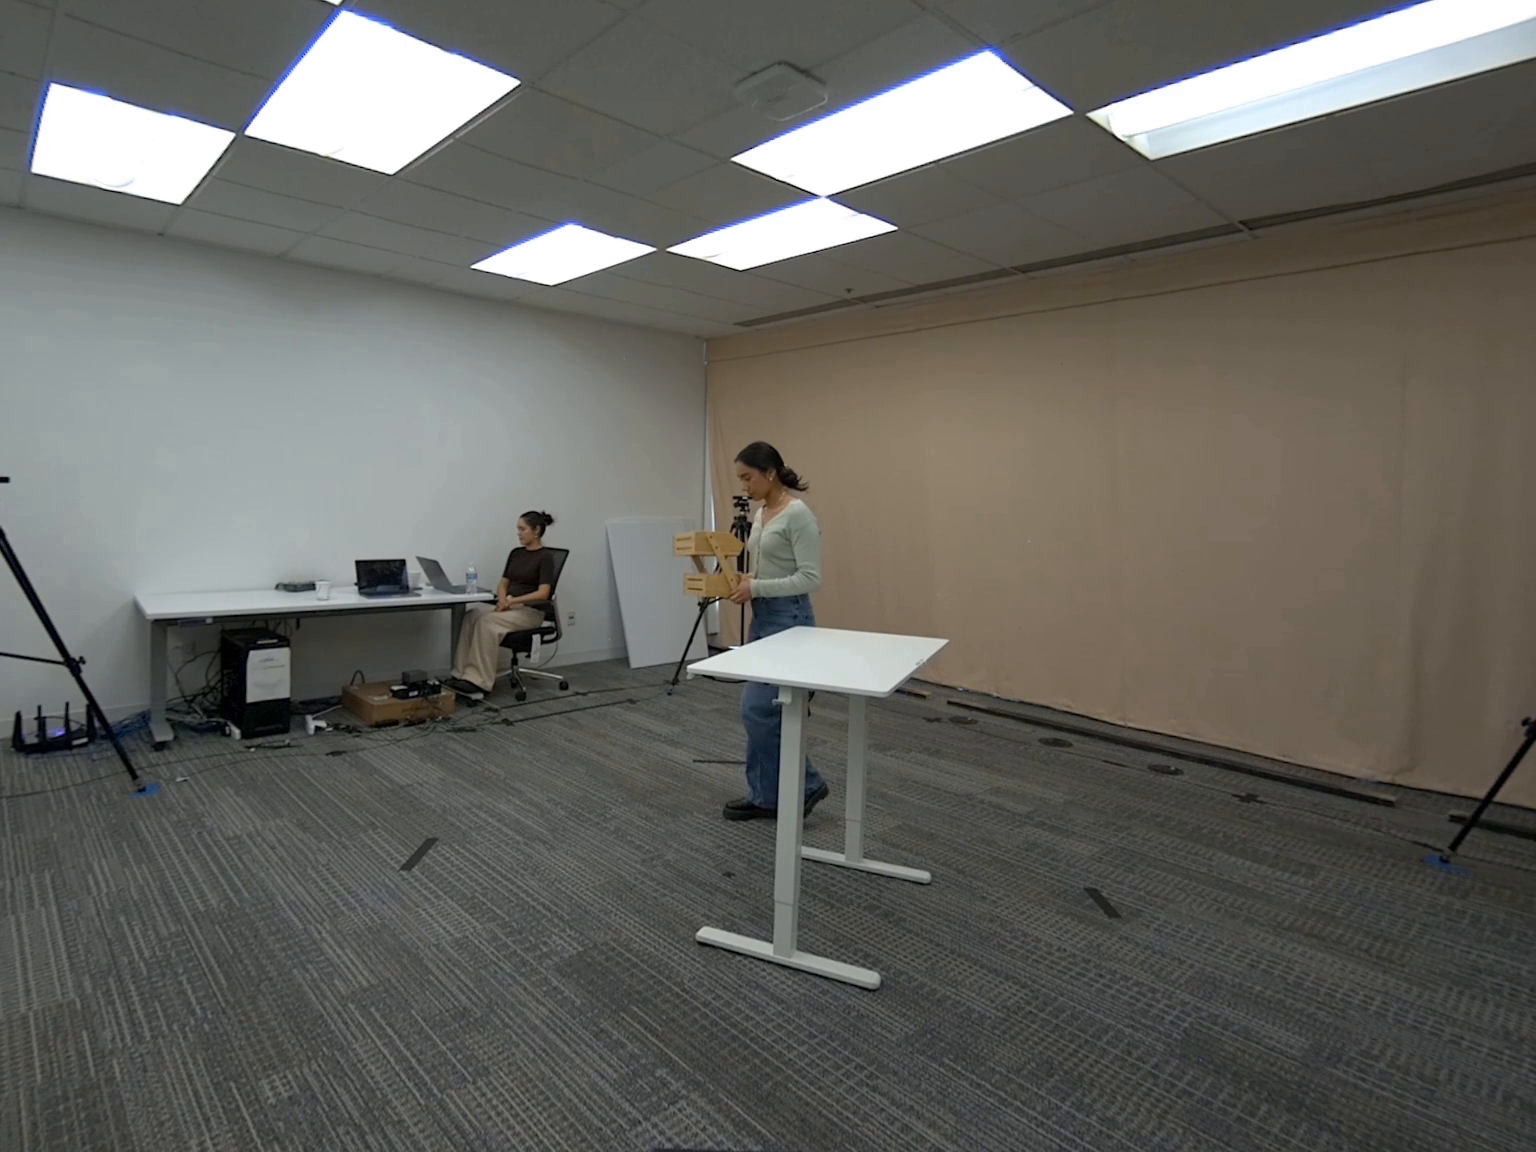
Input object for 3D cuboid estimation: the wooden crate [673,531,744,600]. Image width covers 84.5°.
[{"bbox_3d":[-0.214,-0.050,3.515,0.297,0.273,0.330,0,0,-23],"label":"wooden crate"}]
